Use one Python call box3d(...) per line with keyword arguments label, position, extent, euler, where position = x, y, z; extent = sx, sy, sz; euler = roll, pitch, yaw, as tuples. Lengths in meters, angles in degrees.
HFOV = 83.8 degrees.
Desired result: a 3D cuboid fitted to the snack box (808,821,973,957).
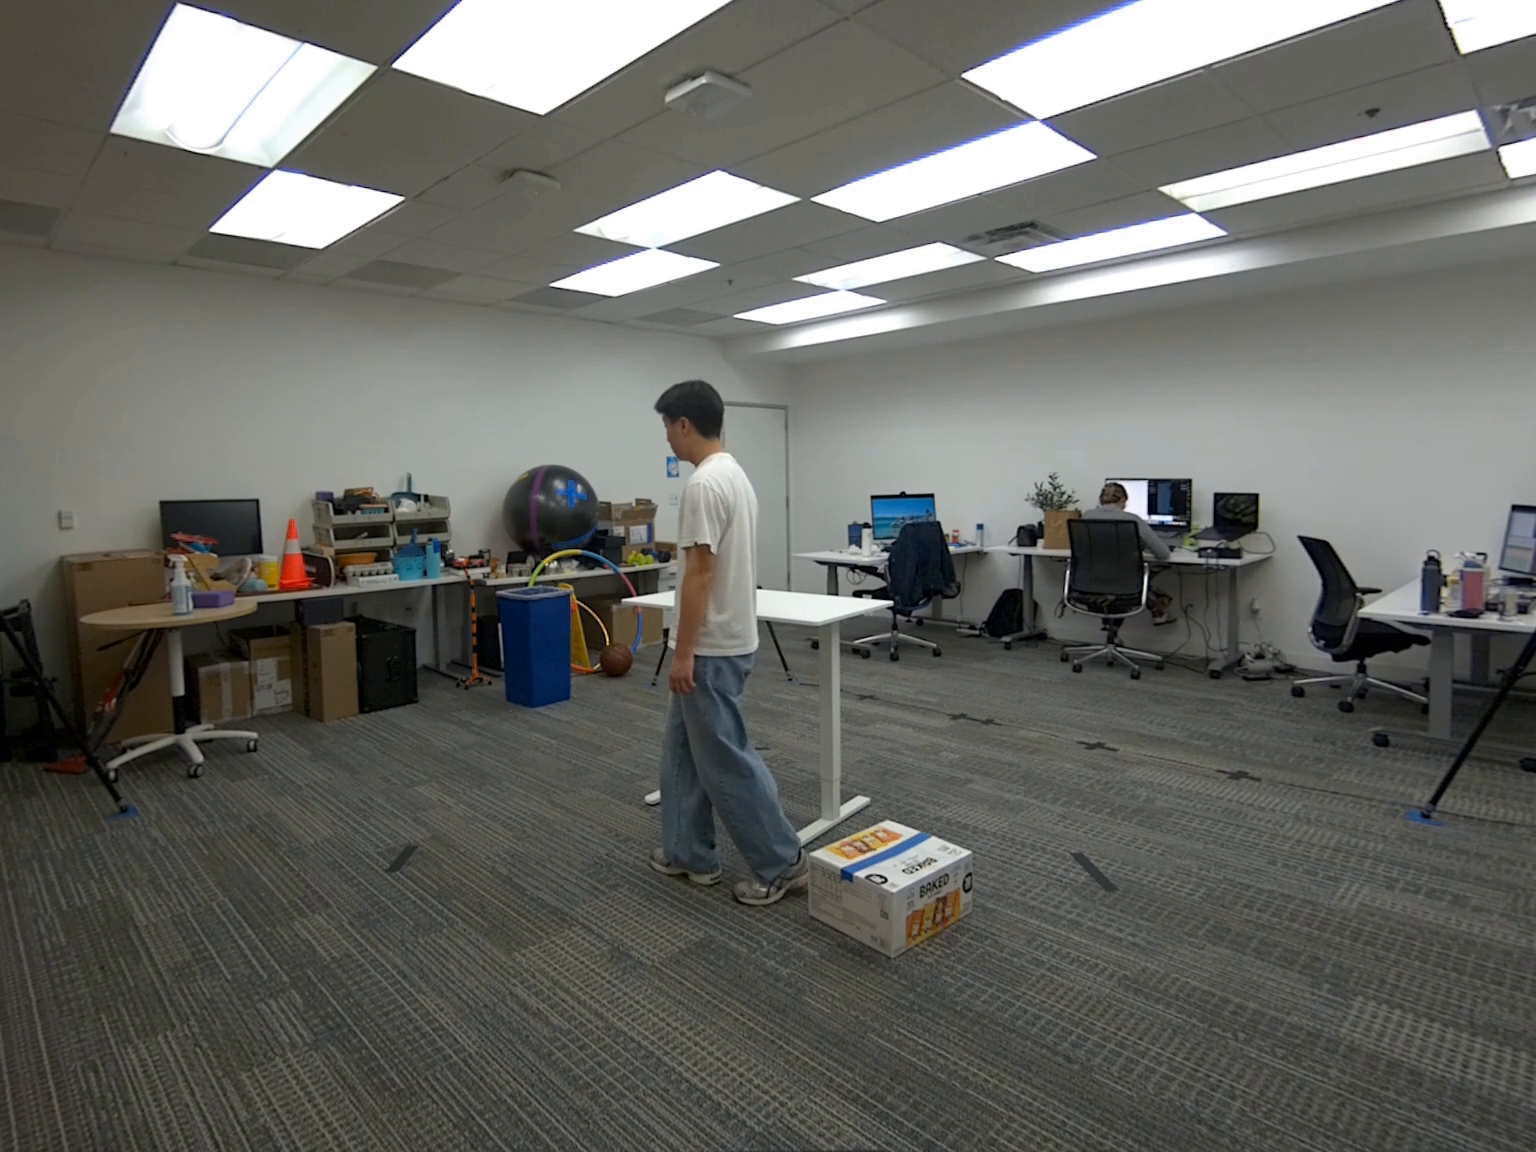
box3d(label="snack box", position=(0.393, 0.980, 2.716), extent=(0.394, 0.205, 0.351), euler=(-6, 7, -41))
